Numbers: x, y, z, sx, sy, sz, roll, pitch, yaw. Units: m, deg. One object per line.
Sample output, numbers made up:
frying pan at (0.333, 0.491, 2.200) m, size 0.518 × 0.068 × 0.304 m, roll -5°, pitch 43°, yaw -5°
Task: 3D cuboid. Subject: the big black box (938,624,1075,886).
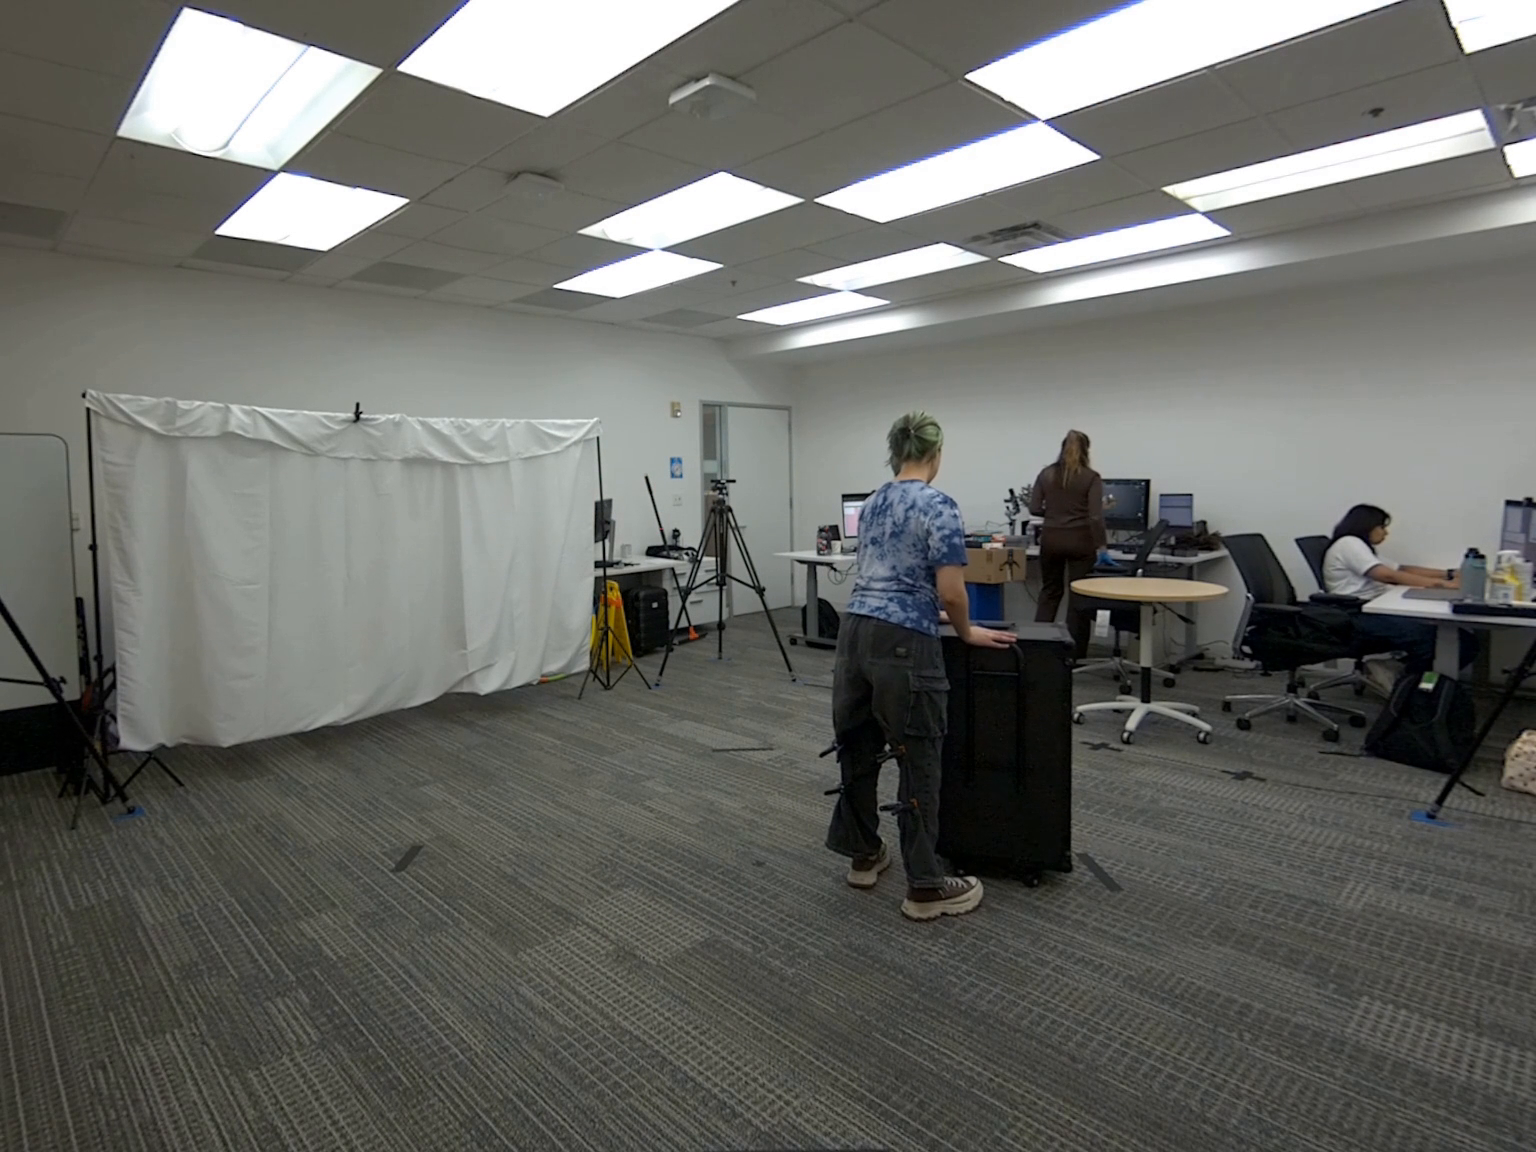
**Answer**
big black box at (0.815, 0.615, 3.035) m, size 0.532 × 0.858 × 0.390 m, roll 2°, pitch 4°, yaw 21°
